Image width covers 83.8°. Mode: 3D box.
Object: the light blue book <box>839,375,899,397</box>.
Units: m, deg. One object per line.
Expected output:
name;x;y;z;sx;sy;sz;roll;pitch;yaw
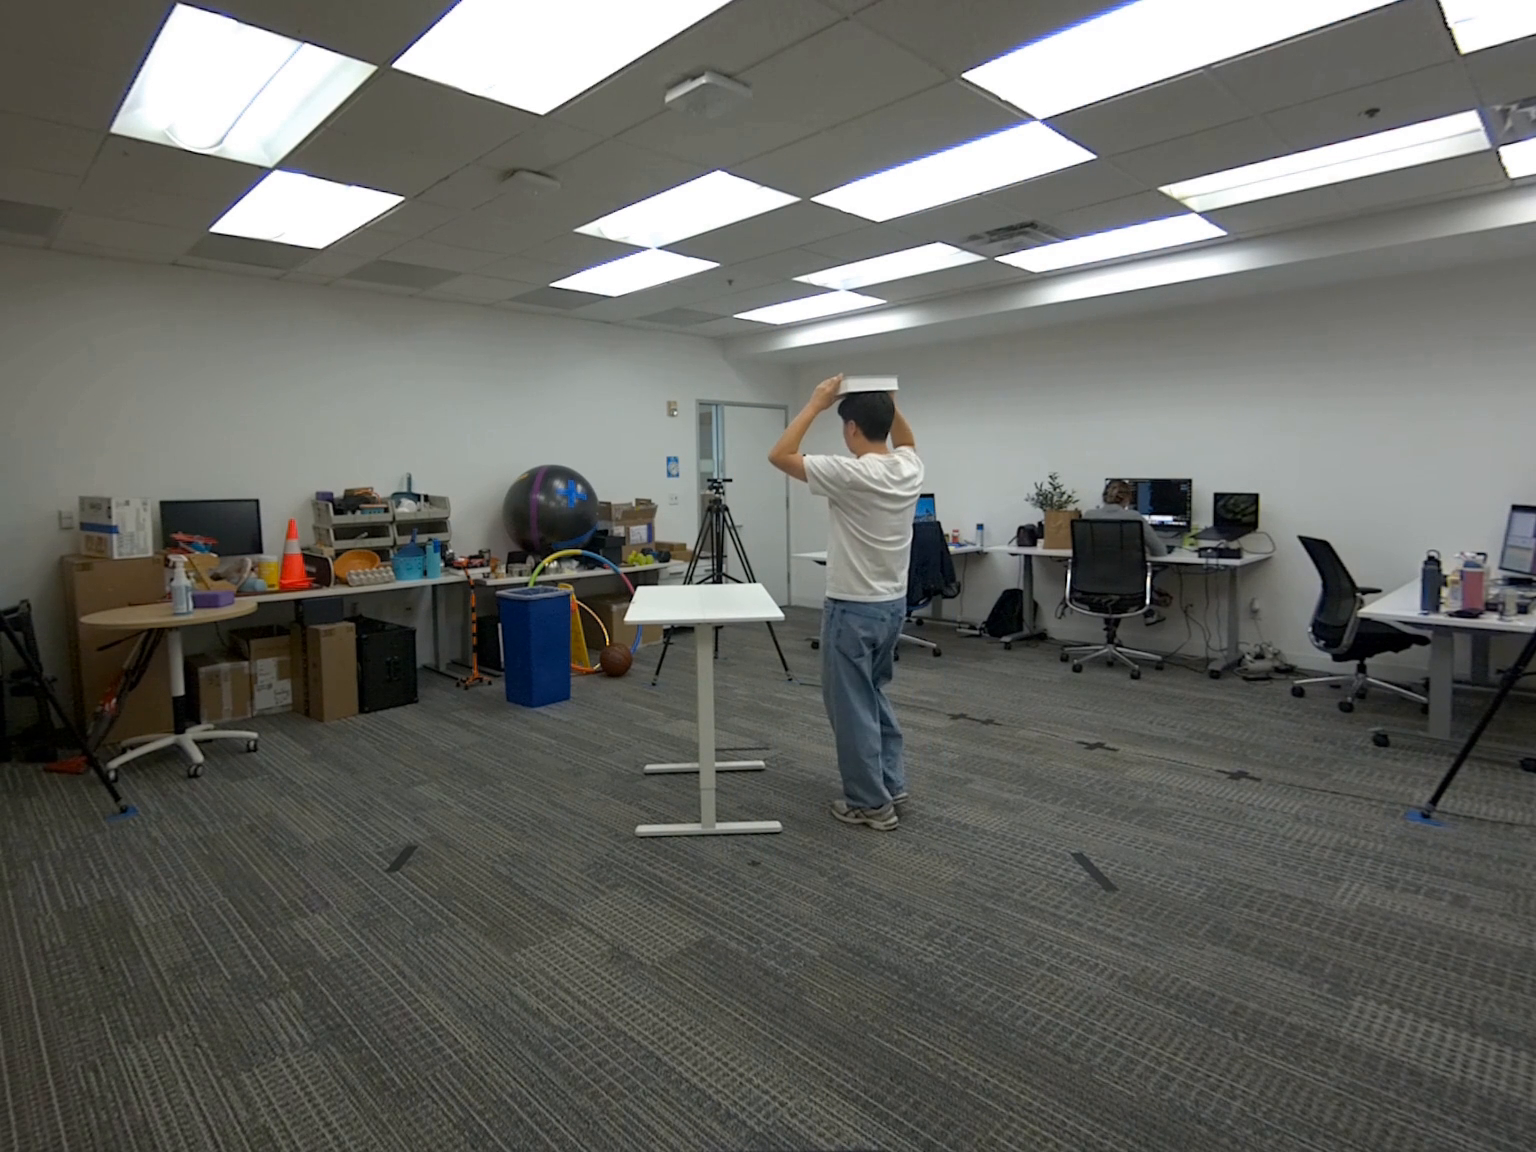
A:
light blue book;0.367;-0.743;3.392;0.255;0.059;0.196;-9;3;-31
